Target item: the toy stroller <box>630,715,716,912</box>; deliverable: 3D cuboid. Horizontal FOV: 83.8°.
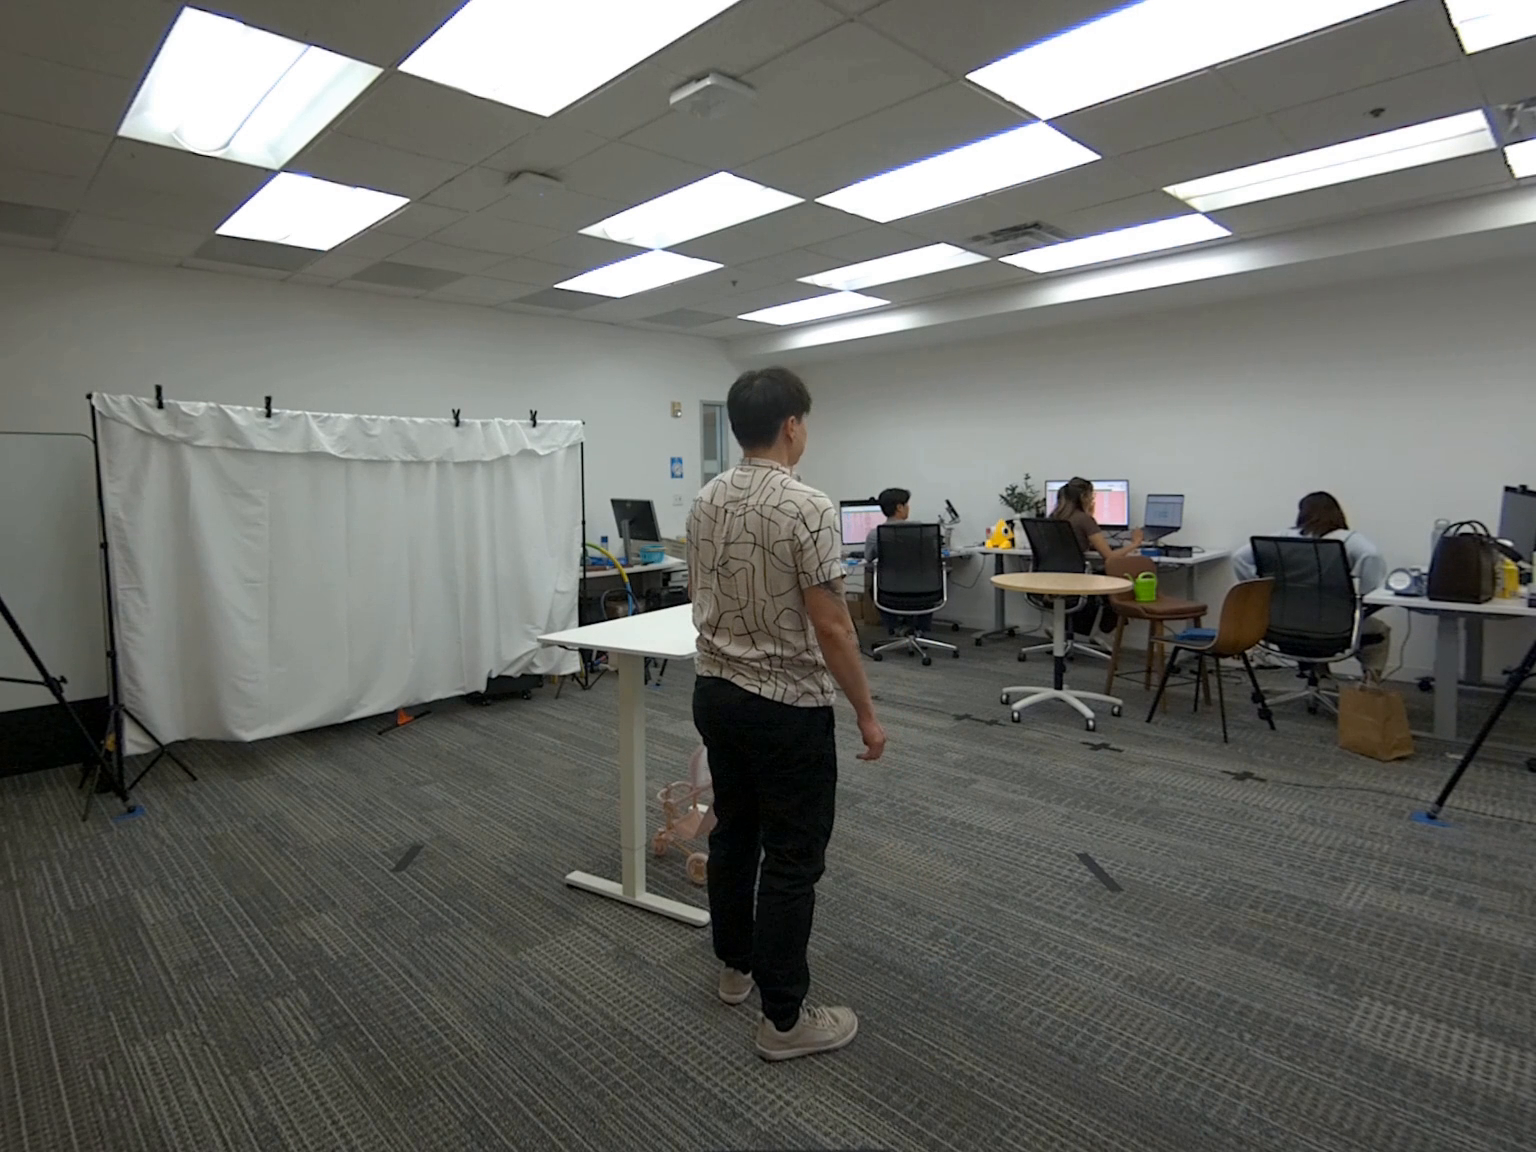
[{"bbox_3d":[-0.228,0.827,3.086,0.352,0.530,0.275,20,15,30],"label":"toy stroller"}]
